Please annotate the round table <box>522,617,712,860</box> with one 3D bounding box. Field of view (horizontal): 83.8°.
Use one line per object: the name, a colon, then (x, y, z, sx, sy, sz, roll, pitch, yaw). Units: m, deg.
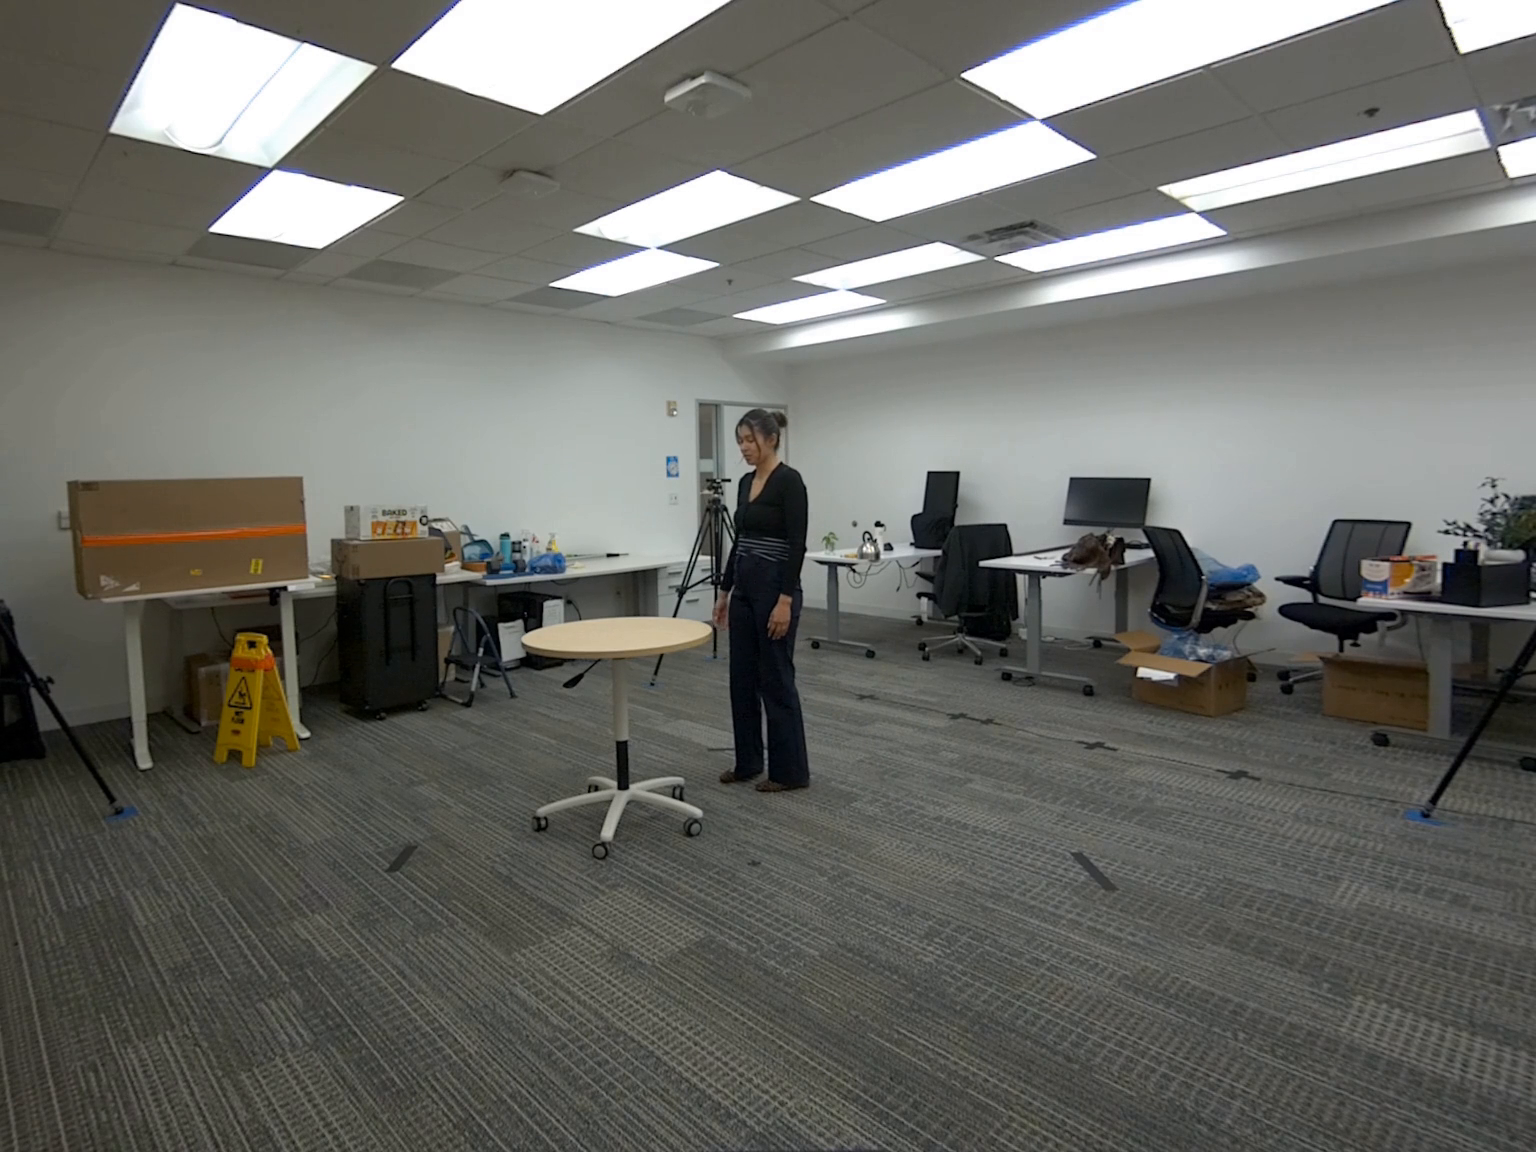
round table: (-0.594, 0.623, 3.483, 0.763, 0.791, 0.768, -2, 5, -2)
